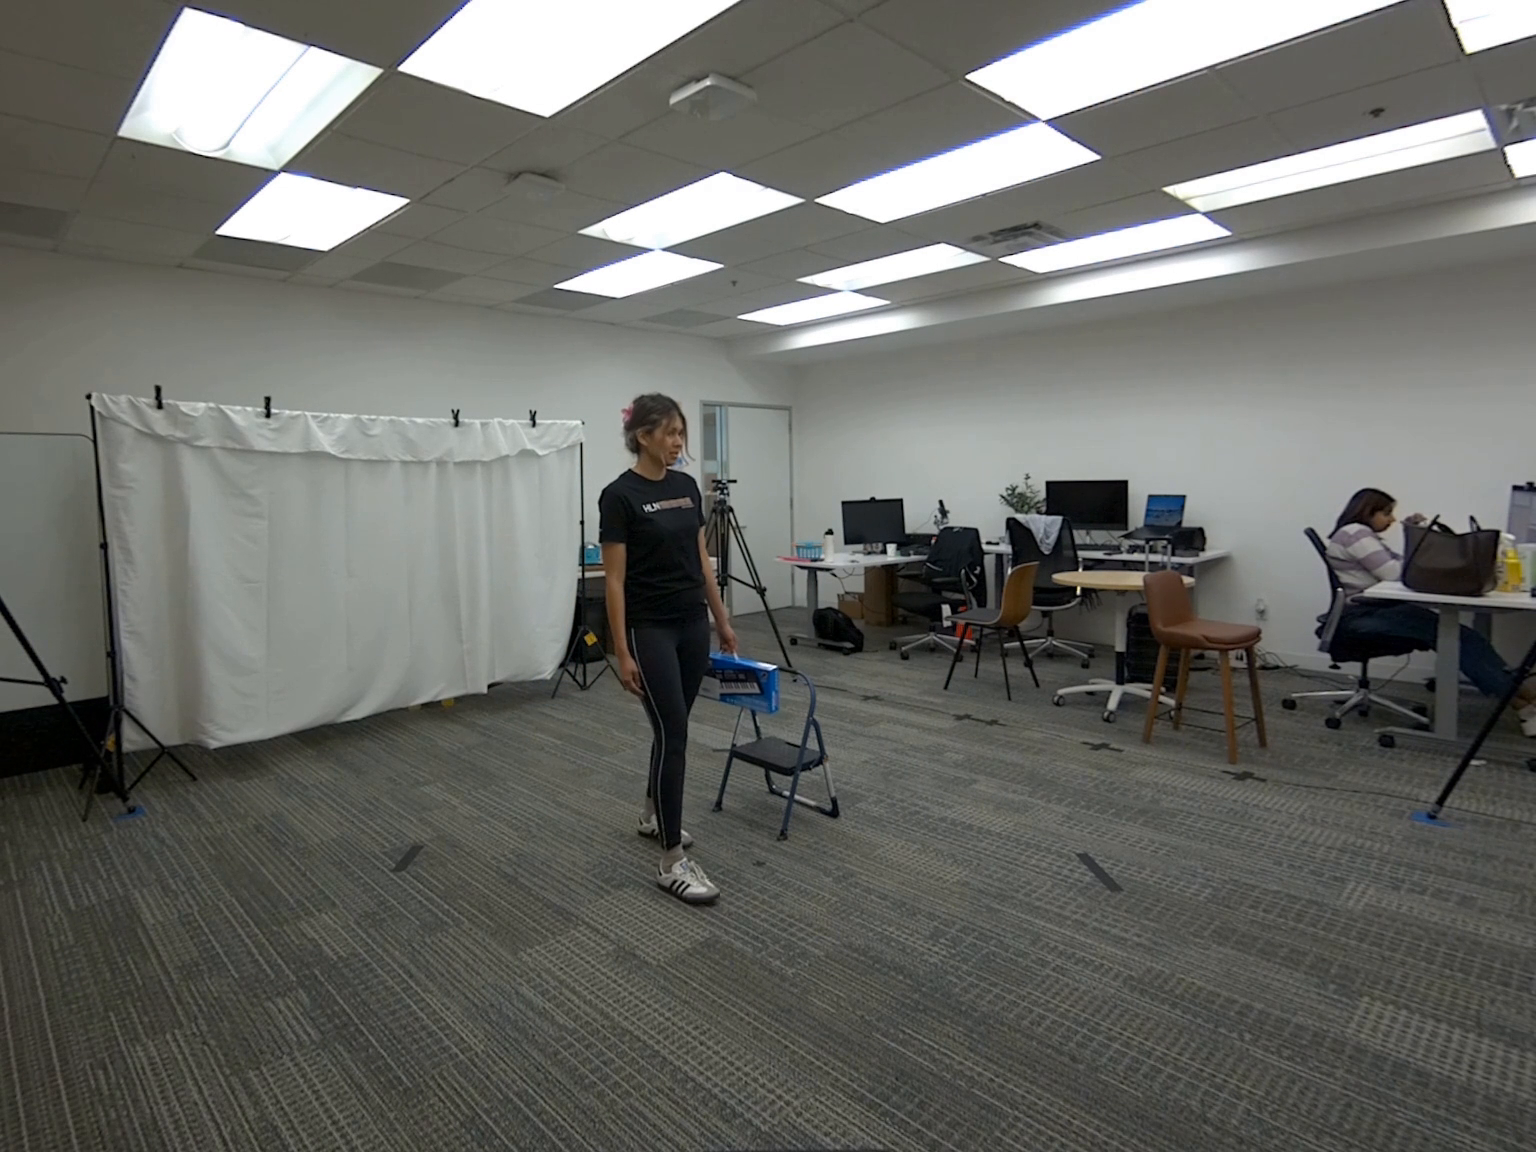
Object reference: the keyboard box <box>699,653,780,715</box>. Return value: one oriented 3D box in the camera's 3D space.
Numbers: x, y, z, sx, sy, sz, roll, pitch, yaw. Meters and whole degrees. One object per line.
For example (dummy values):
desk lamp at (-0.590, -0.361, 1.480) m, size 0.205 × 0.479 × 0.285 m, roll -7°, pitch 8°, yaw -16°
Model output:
keyboard box at (-0.155, 0.402, 3.307) m, size 0.450 × 0.174 × 0.058 m, roll 7°, pitch 11°, yaw 36°
